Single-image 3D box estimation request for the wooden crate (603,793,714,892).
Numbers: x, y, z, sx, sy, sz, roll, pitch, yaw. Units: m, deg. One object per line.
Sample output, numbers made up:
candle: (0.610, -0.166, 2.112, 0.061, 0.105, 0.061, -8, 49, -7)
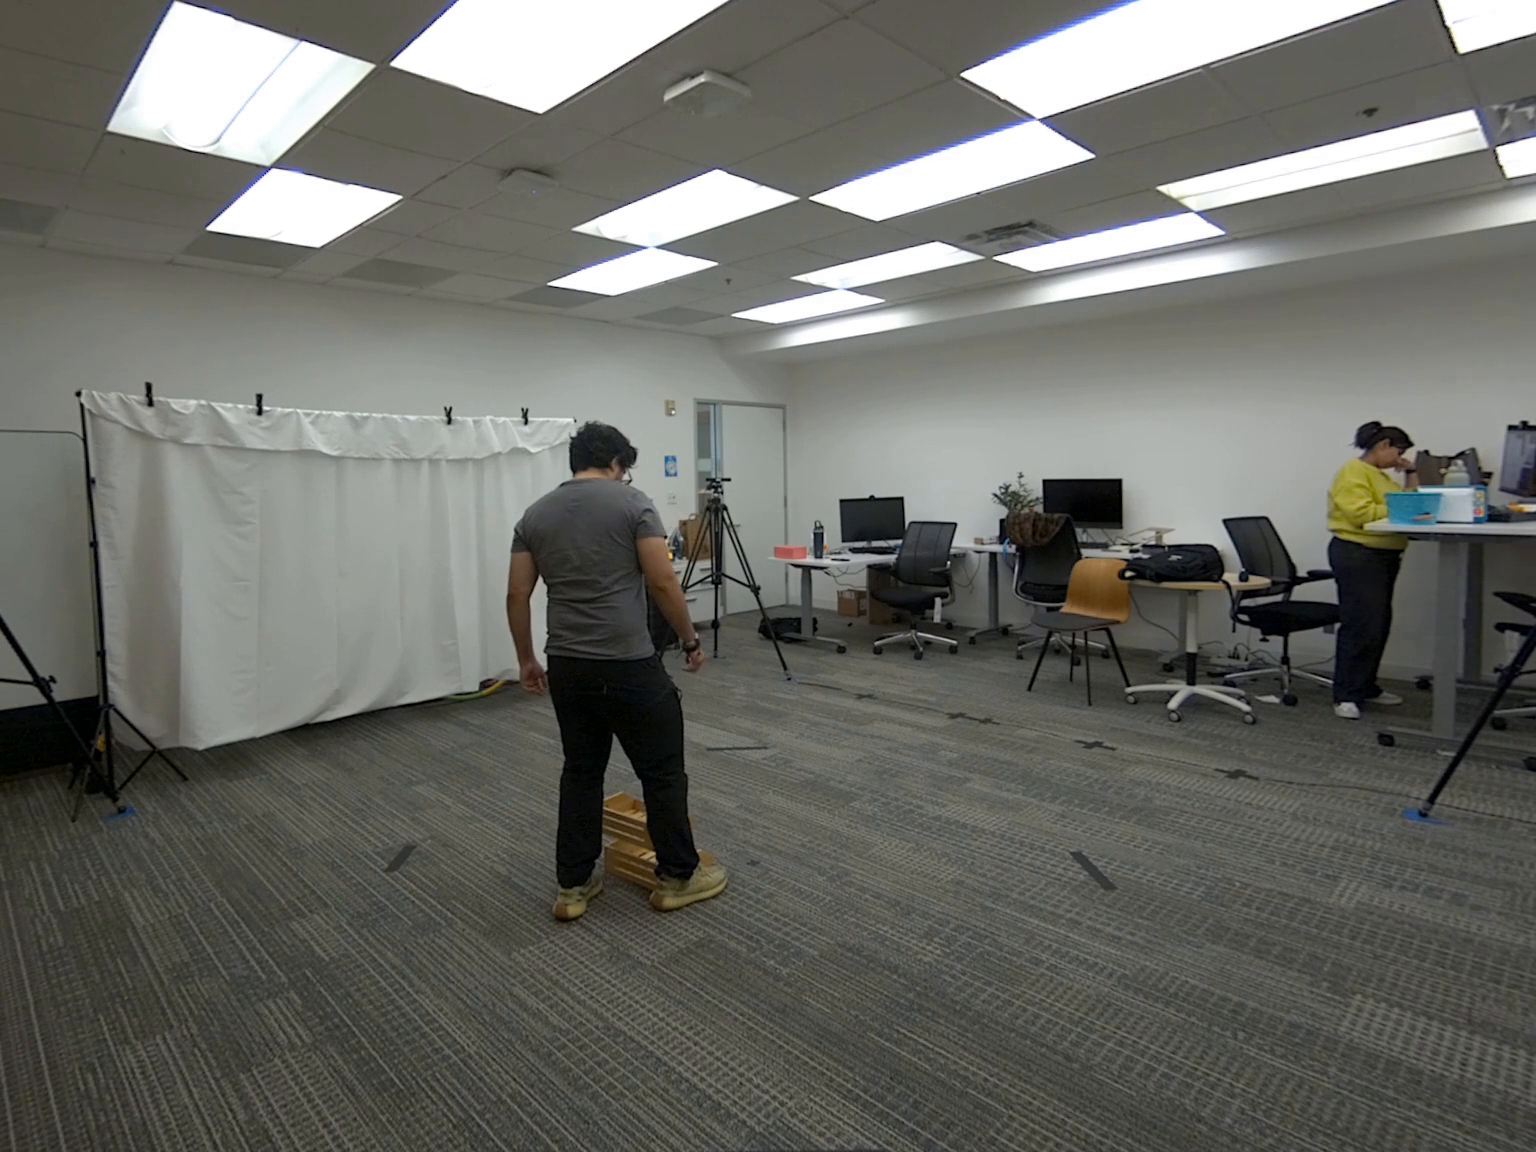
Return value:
wooden crate: (-0.405, 0.924, 3.040, 0.334, 0.272, 0.295, 4, 8, 36)
